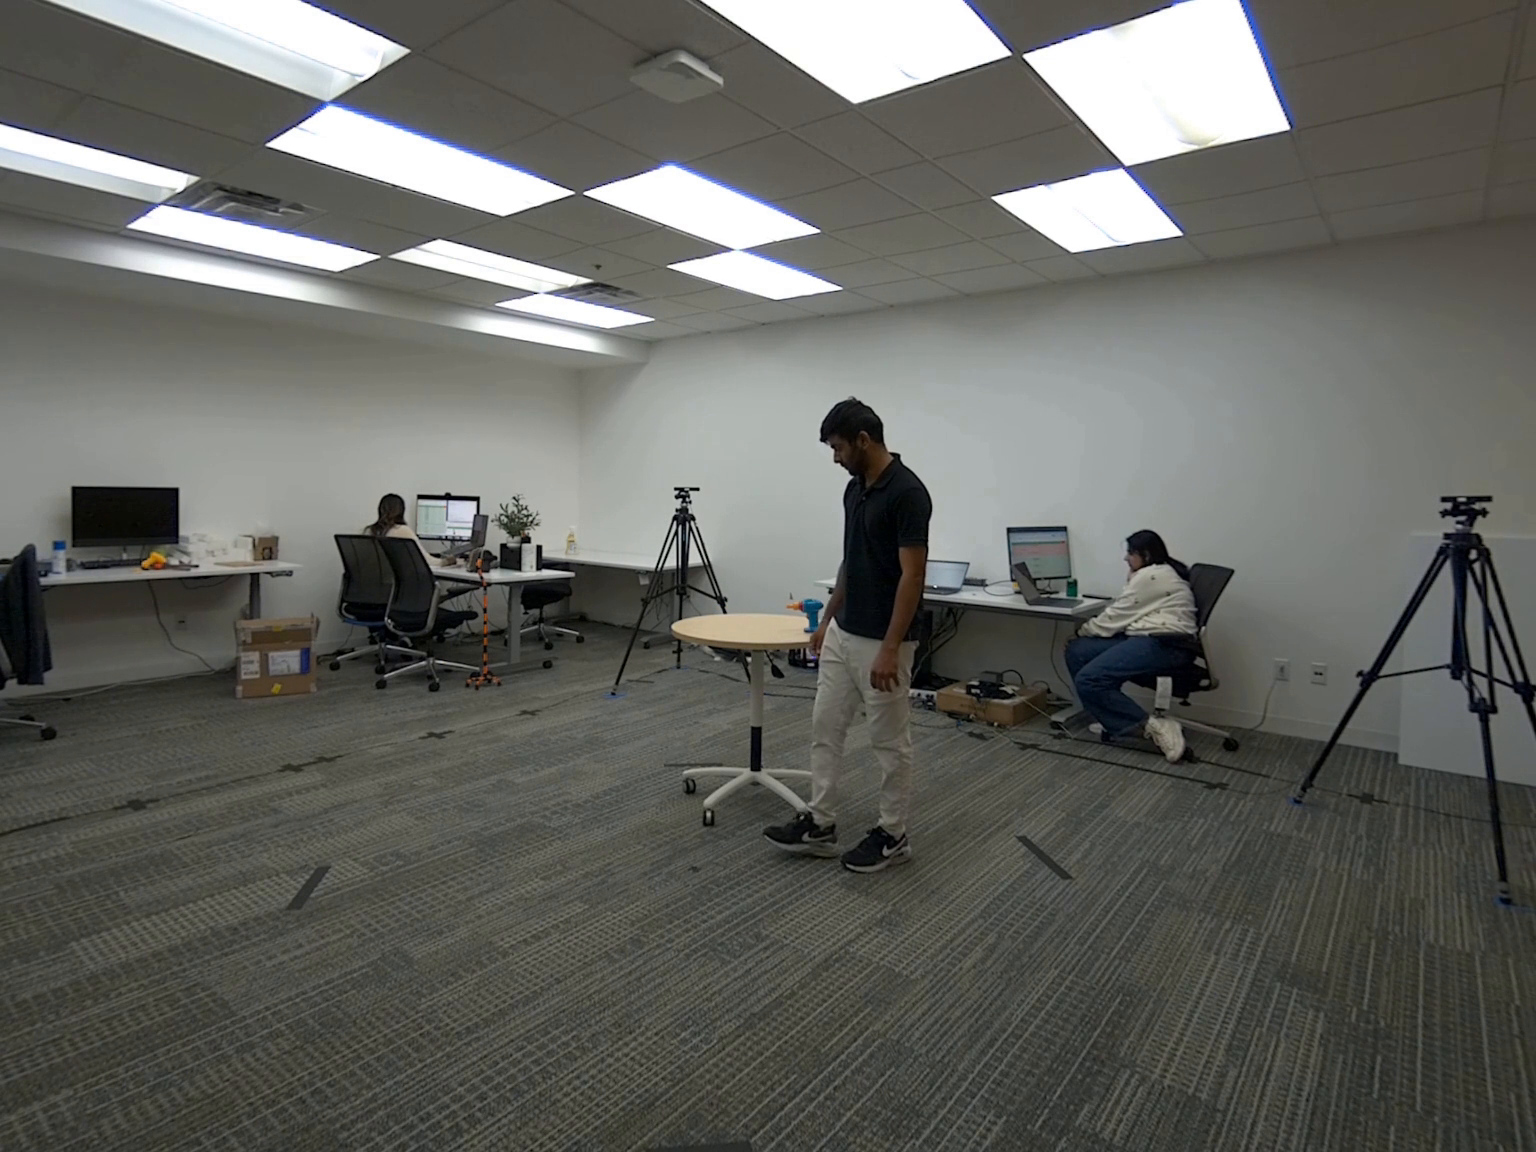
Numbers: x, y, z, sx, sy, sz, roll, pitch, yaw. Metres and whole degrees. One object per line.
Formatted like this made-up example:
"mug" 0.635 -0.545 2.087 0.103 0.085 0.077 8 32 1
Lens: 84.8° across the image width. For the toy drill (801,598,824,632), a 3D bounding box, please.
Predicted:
"toy drill" 0.141 0.162 3.638 0.167 0.145 0.062 0 4 -14
